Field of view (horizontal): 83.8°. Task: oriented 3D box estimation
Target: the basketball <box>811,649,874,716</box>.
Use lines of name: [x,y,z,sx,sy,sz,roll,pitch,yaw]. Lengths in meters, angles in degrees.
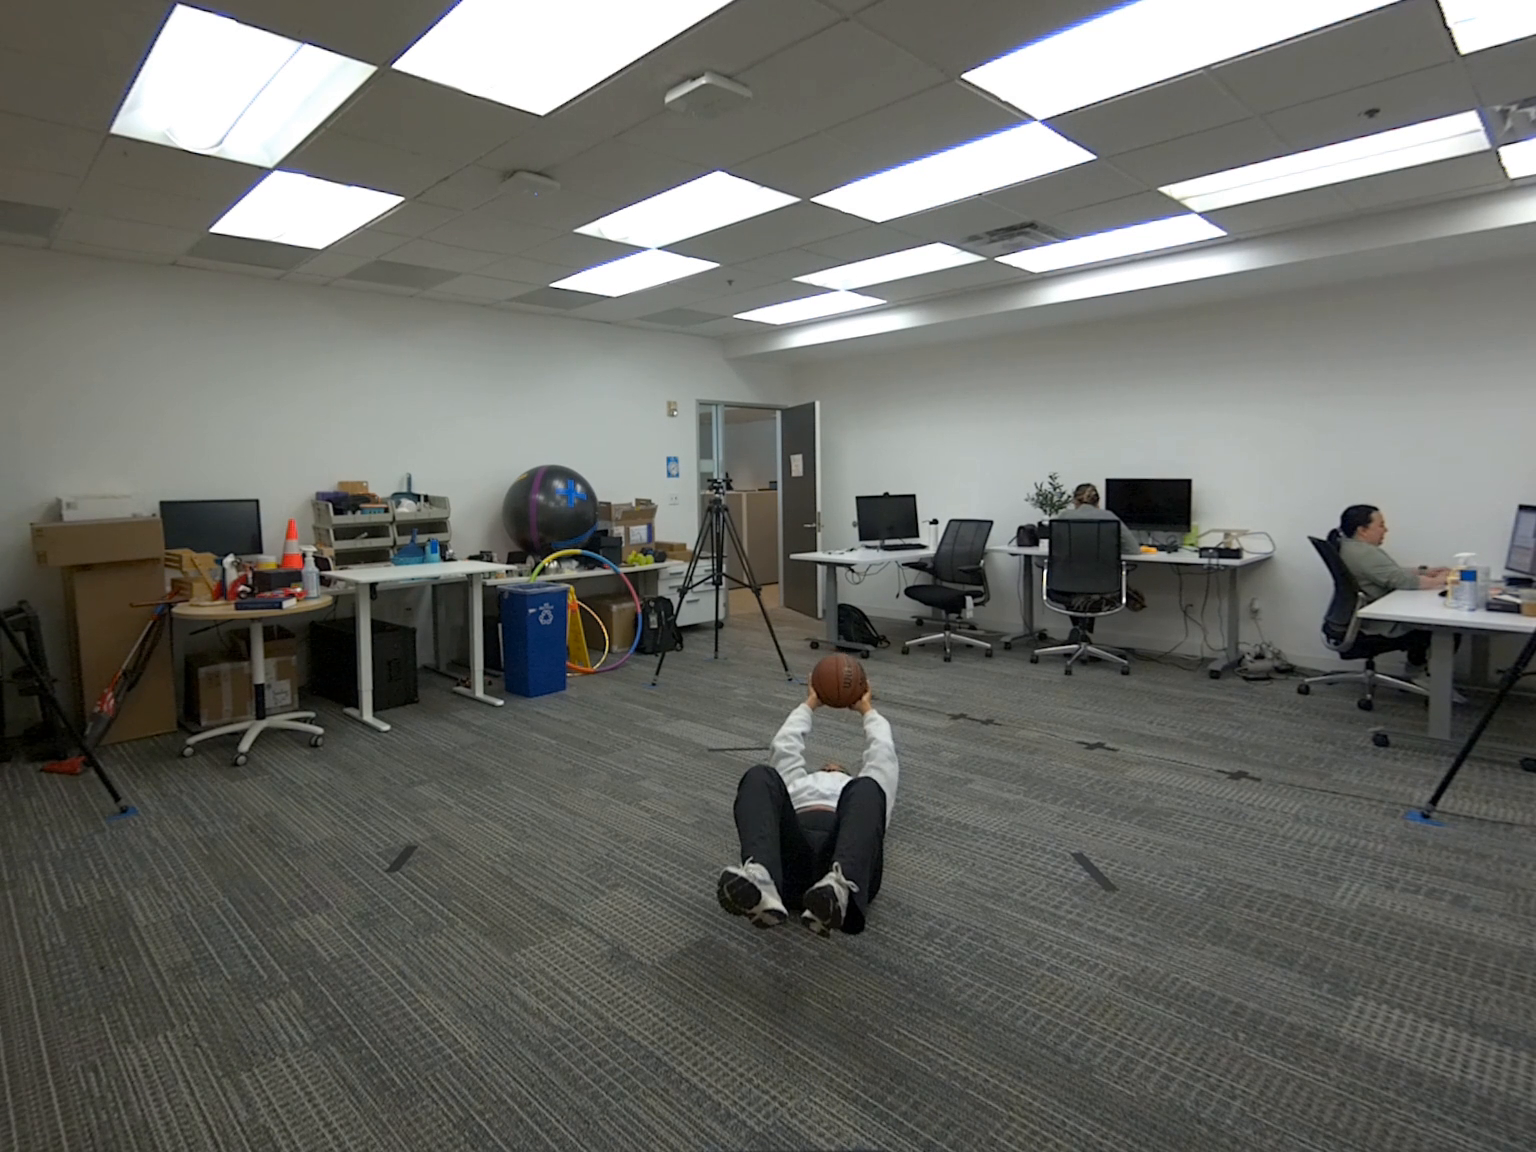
basketball: [0.318,0.457,3.726,0.236,0.235,0.237,-1,4,-2]
